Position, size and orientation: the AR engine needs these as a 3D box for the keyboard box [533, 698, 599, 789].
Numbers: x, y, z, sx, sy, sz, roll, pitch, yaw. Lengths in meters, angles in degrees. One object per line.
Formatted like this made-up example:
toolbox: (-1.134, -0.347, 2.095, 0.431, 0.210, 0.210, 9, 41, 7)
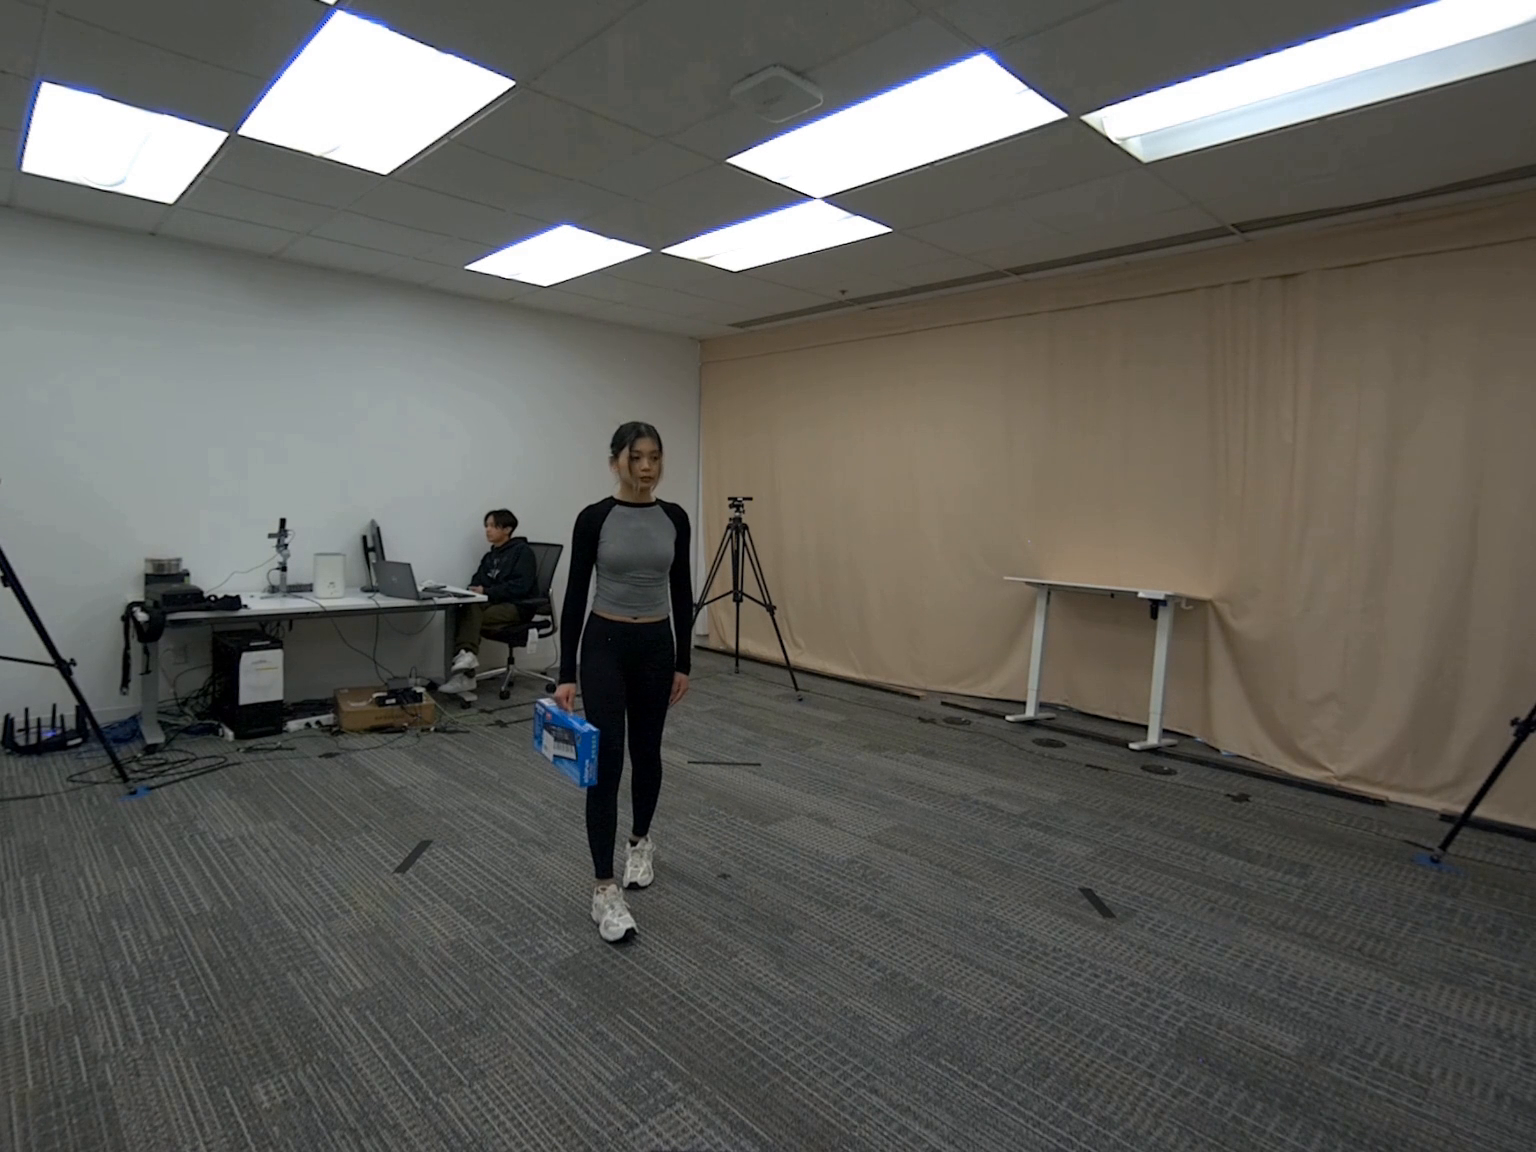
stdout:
keyboard box: (-0.670, 0.539, 2.765, 0.058, 0.175, 0.447, 1, 6, -32)
